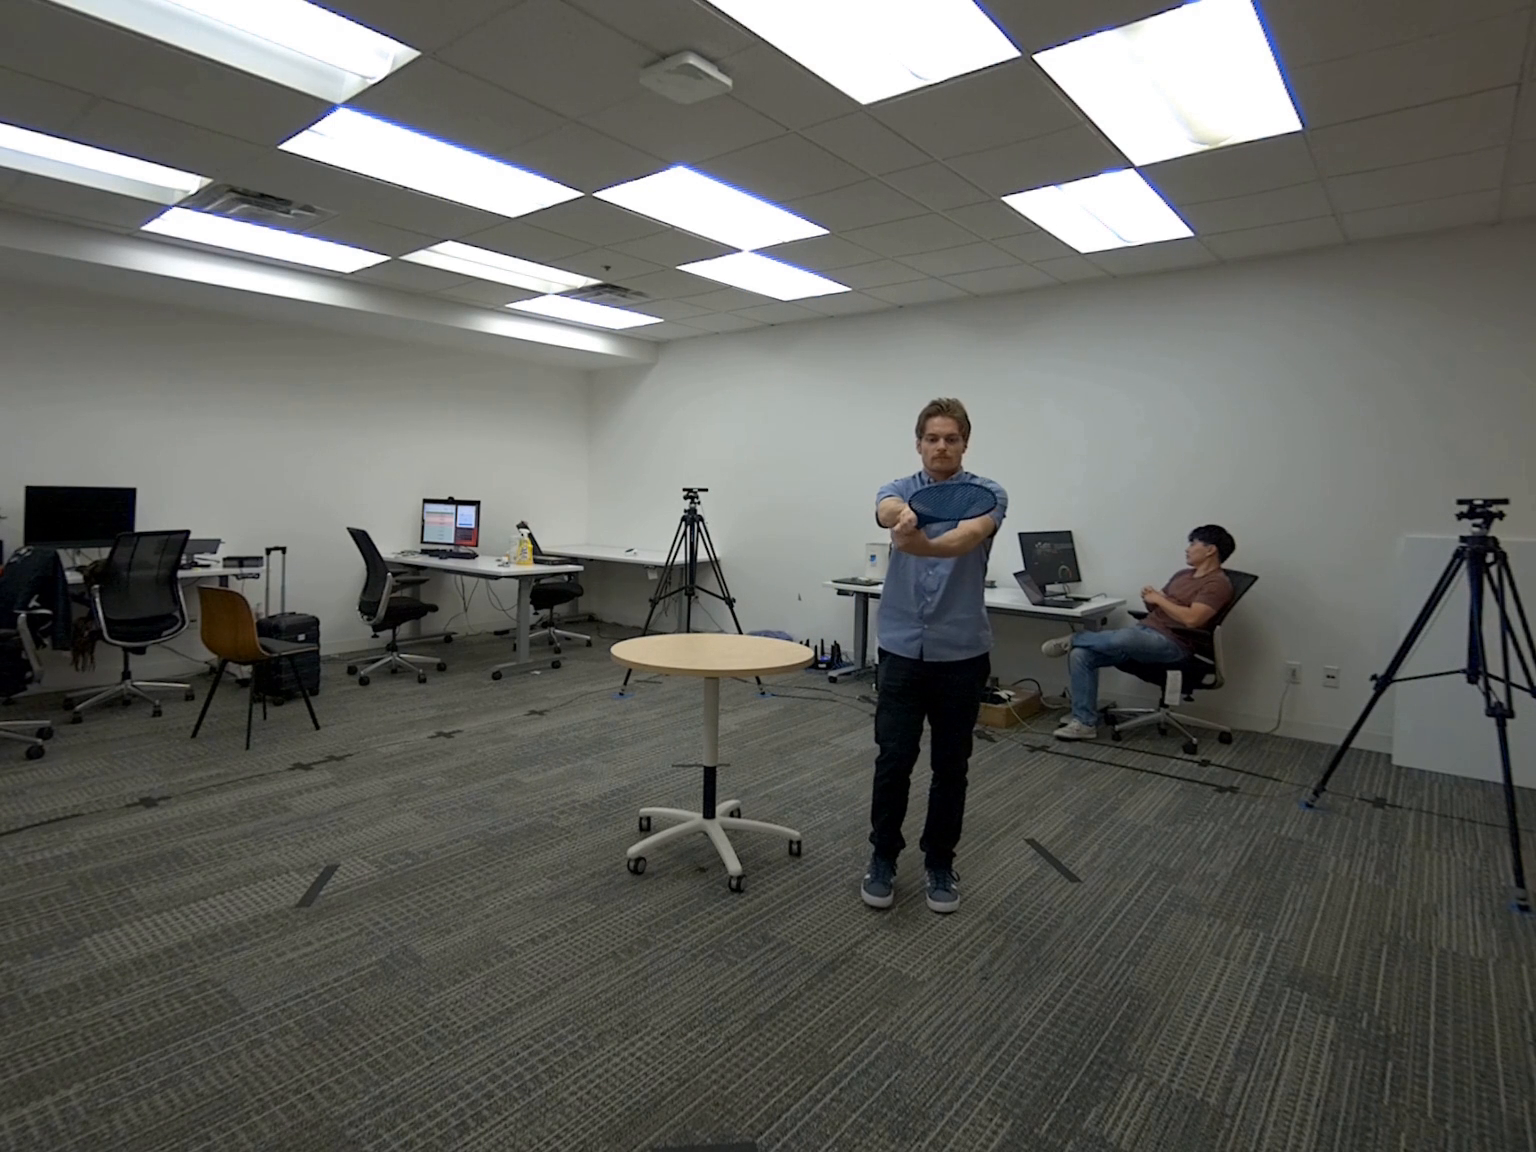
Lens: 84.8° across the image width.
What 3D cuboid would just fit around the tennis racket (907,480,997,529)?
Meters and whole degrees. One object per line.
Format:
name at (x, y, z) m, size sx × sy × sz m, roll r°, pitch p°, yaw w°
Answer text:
tennis racket at (0.441, -0.176, 2.303) m, size 0.211 × 0.032 × 0.433 m, roll 14°, pitch -18°, yaw -12°
